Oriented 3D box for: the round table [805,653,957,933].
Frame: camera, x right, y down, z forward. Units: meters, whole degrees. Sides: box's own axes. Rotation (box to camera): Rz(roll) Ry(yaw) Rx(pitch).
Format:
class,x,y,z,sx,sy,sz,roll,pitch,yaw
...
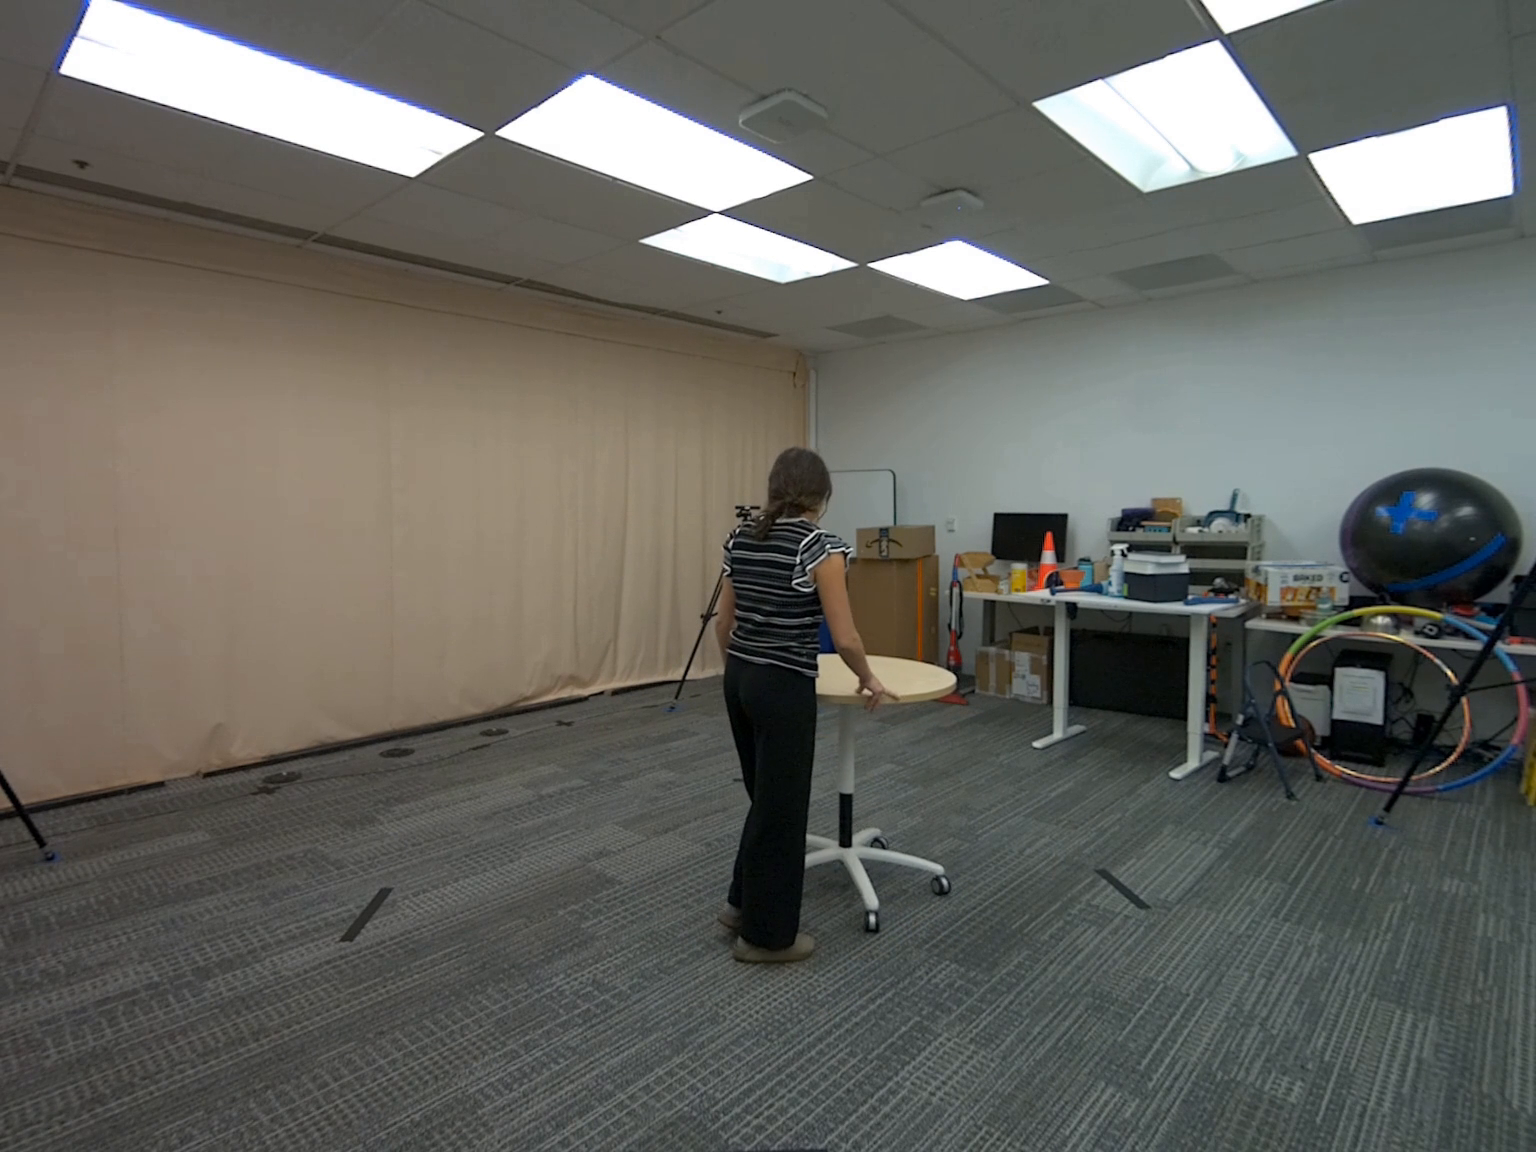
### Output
class,x,y,z,sx,sy,sz,roll,pitch,yaw
round table,0.306,0.737,3.098,0.784,0.785,0.788,1,4,-2
